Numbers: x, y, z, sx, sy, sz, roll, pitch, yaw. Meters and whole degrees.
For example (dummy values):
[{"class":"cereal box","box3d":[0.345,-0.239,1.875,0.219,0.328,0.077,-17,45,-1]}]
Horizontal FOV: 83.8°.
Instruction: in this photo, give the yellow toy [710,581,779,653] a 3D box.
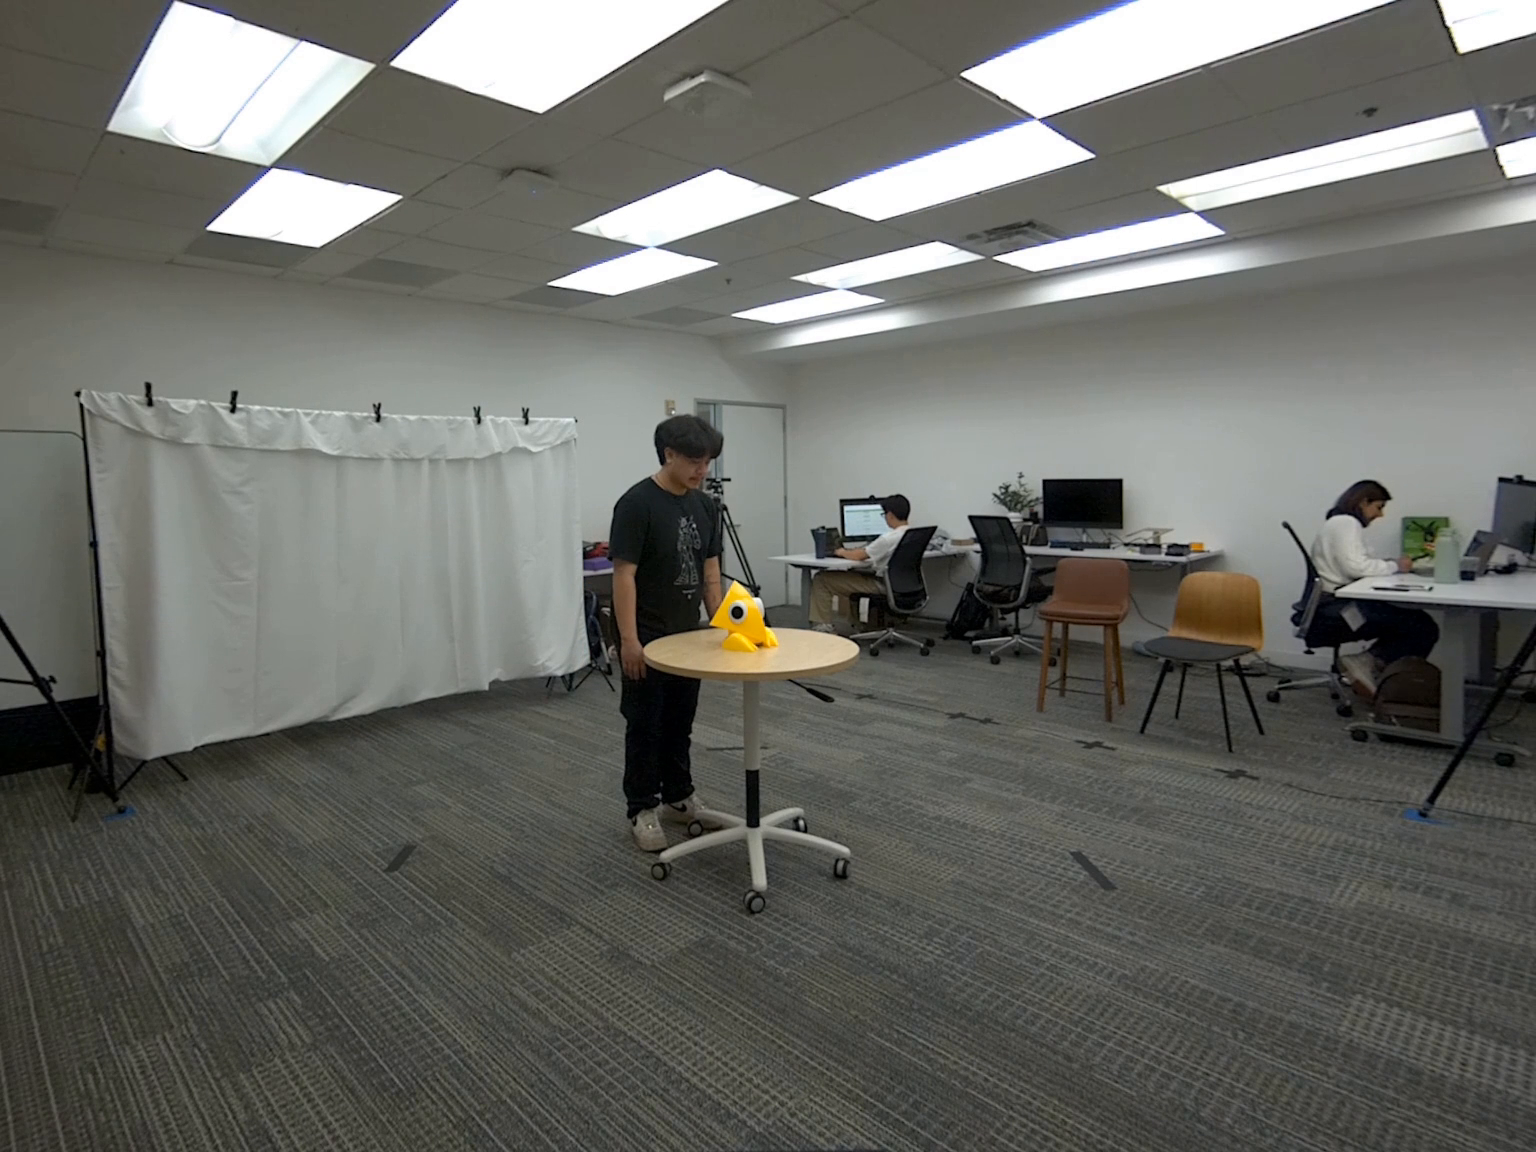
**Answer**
[{"class":"yellow toy","box3d":[-0.070,0.137,3.072,0.199,0.229,0.199,5,8,43]}]
